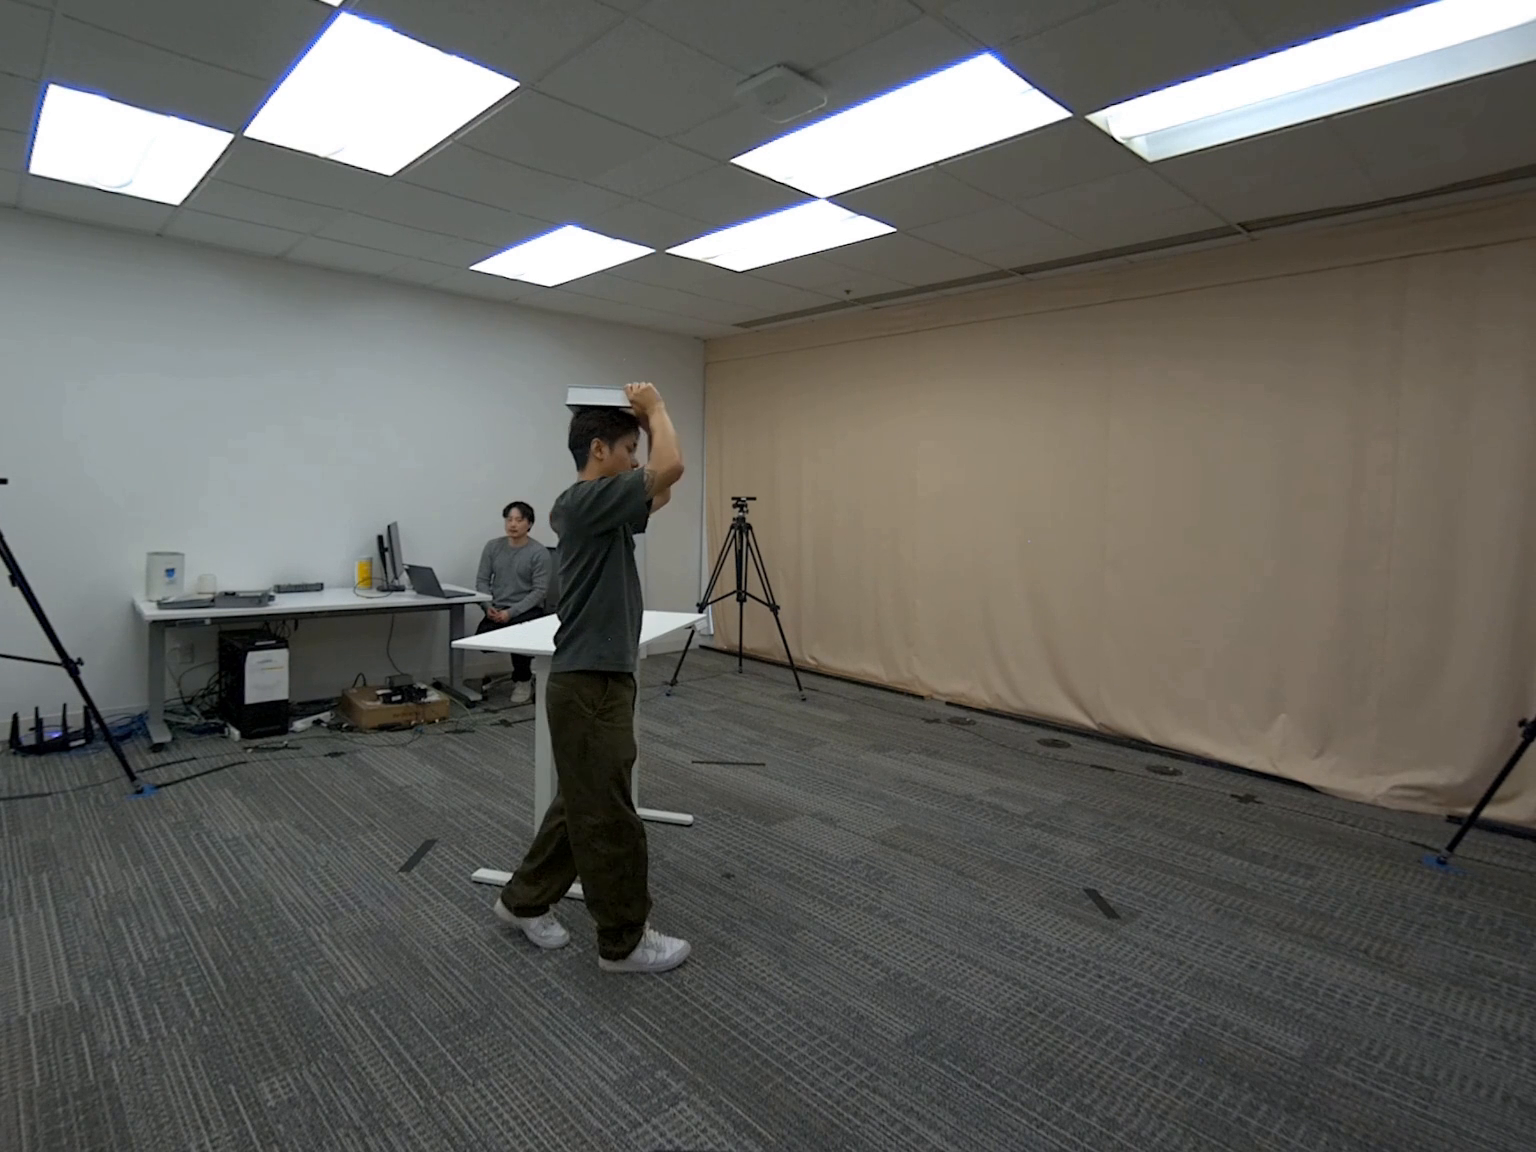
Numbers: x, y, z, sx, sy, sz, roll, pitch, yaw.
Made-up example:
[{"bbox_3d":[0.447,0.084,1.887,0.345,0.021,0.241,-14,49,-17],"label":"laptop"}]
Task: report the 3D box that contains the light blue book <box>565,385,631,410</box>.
[{"bbox_3d":[-0.476,-0.523,2.549,0.261,0.059,0.190,4,-3,1],"label":"light blue book"}]
